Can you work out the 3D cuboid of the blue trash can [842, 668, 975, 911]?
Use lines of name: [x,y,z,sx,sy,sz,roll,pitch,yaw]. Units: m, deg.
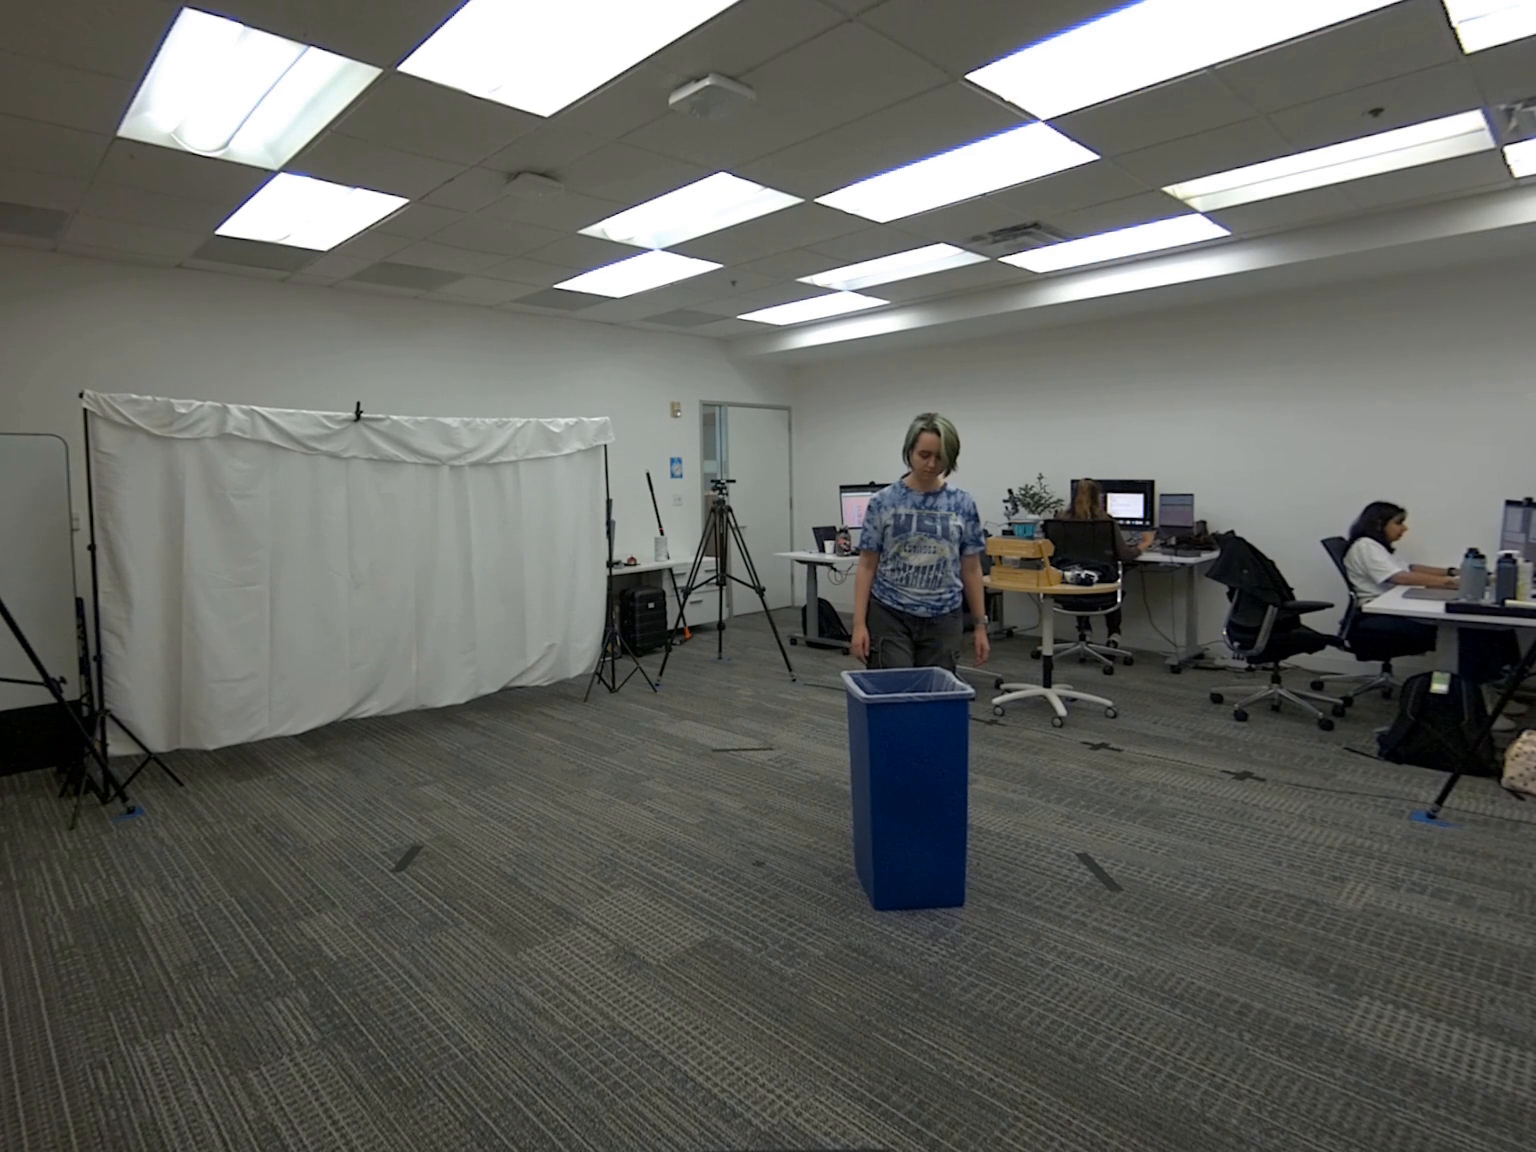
blue trash can: [0.467,0.708,2.878,0.372,0.711,0.381,-1,4,-5]
